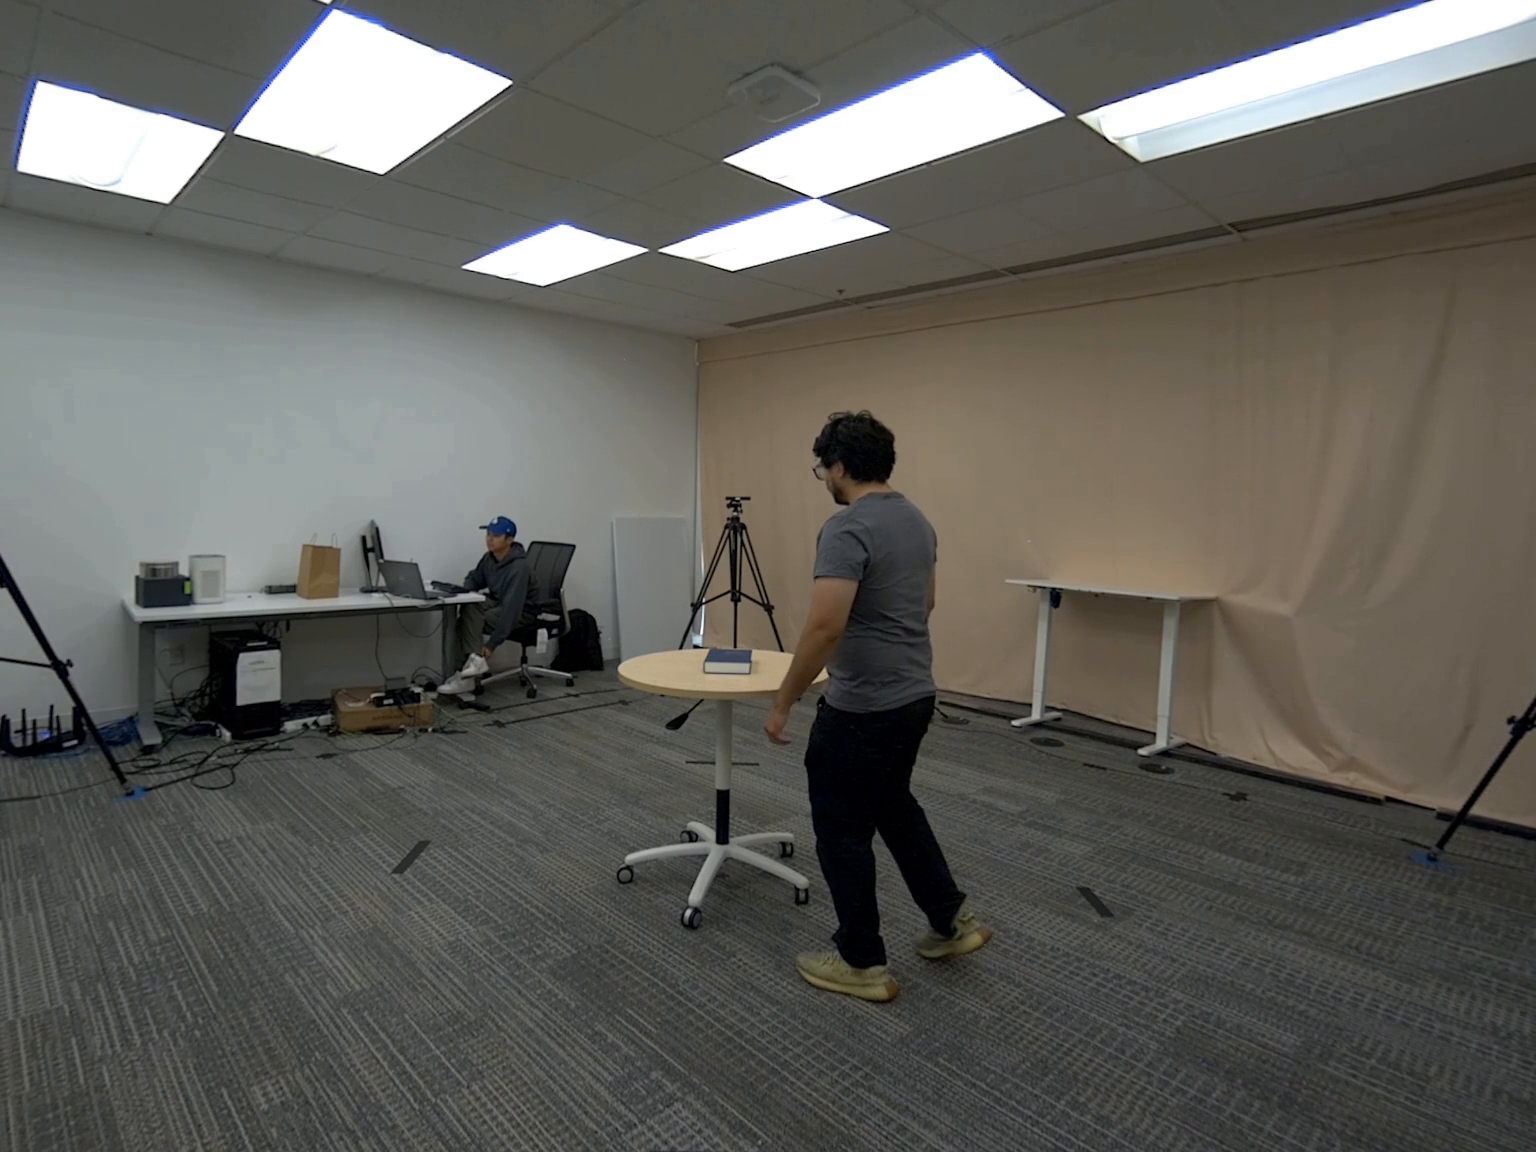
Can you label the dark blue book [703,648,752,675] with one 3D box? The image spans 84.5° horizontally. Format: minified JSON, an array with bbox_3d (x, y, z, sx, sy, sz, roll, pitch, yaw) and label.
[{"bbox_3d":[-0.150,0.311,3.031,0.164,0.045,0.245,2,5,1],"label":"dark blue book"}]
